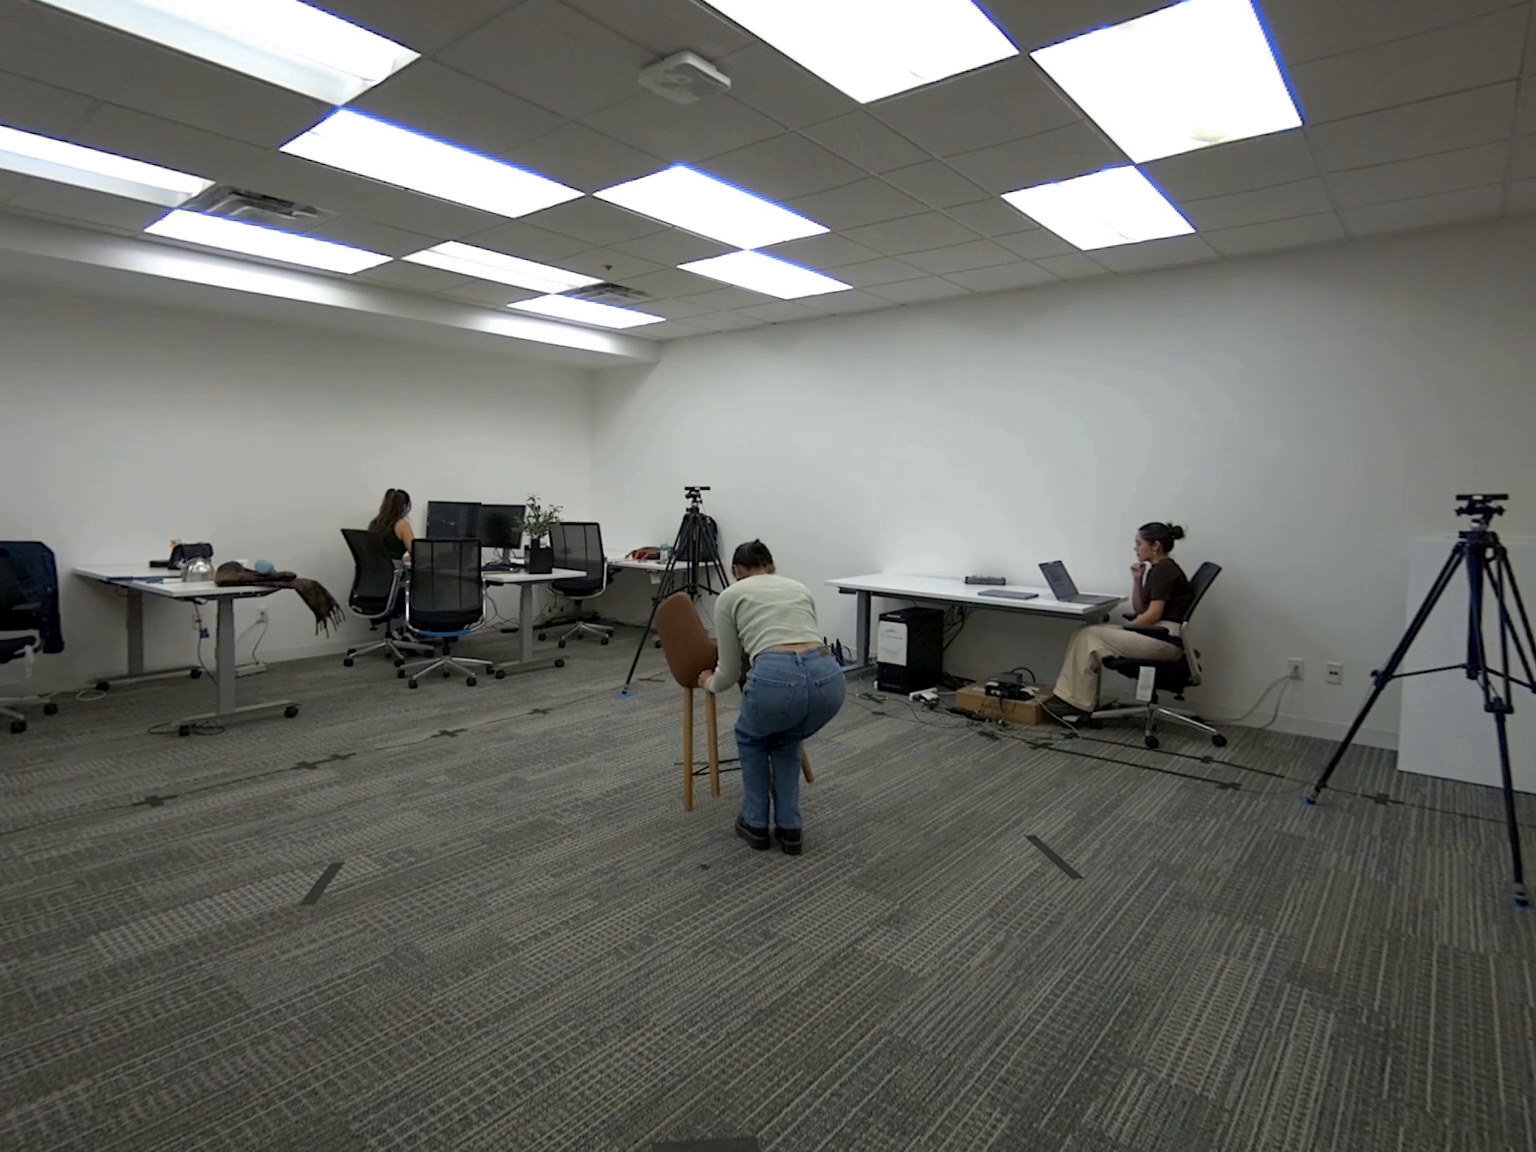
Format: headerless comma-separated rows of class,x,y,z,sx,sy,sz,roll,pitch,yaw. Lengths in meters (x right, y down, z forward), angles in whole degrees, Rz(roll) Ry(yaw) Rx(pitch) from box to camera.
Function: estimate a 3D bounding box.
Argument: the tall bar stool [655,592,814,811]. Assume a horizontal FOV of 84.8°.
tall bar stool,-0.190,0.530,3.772,0.457,0.911,0.456,-4,-22,-26
